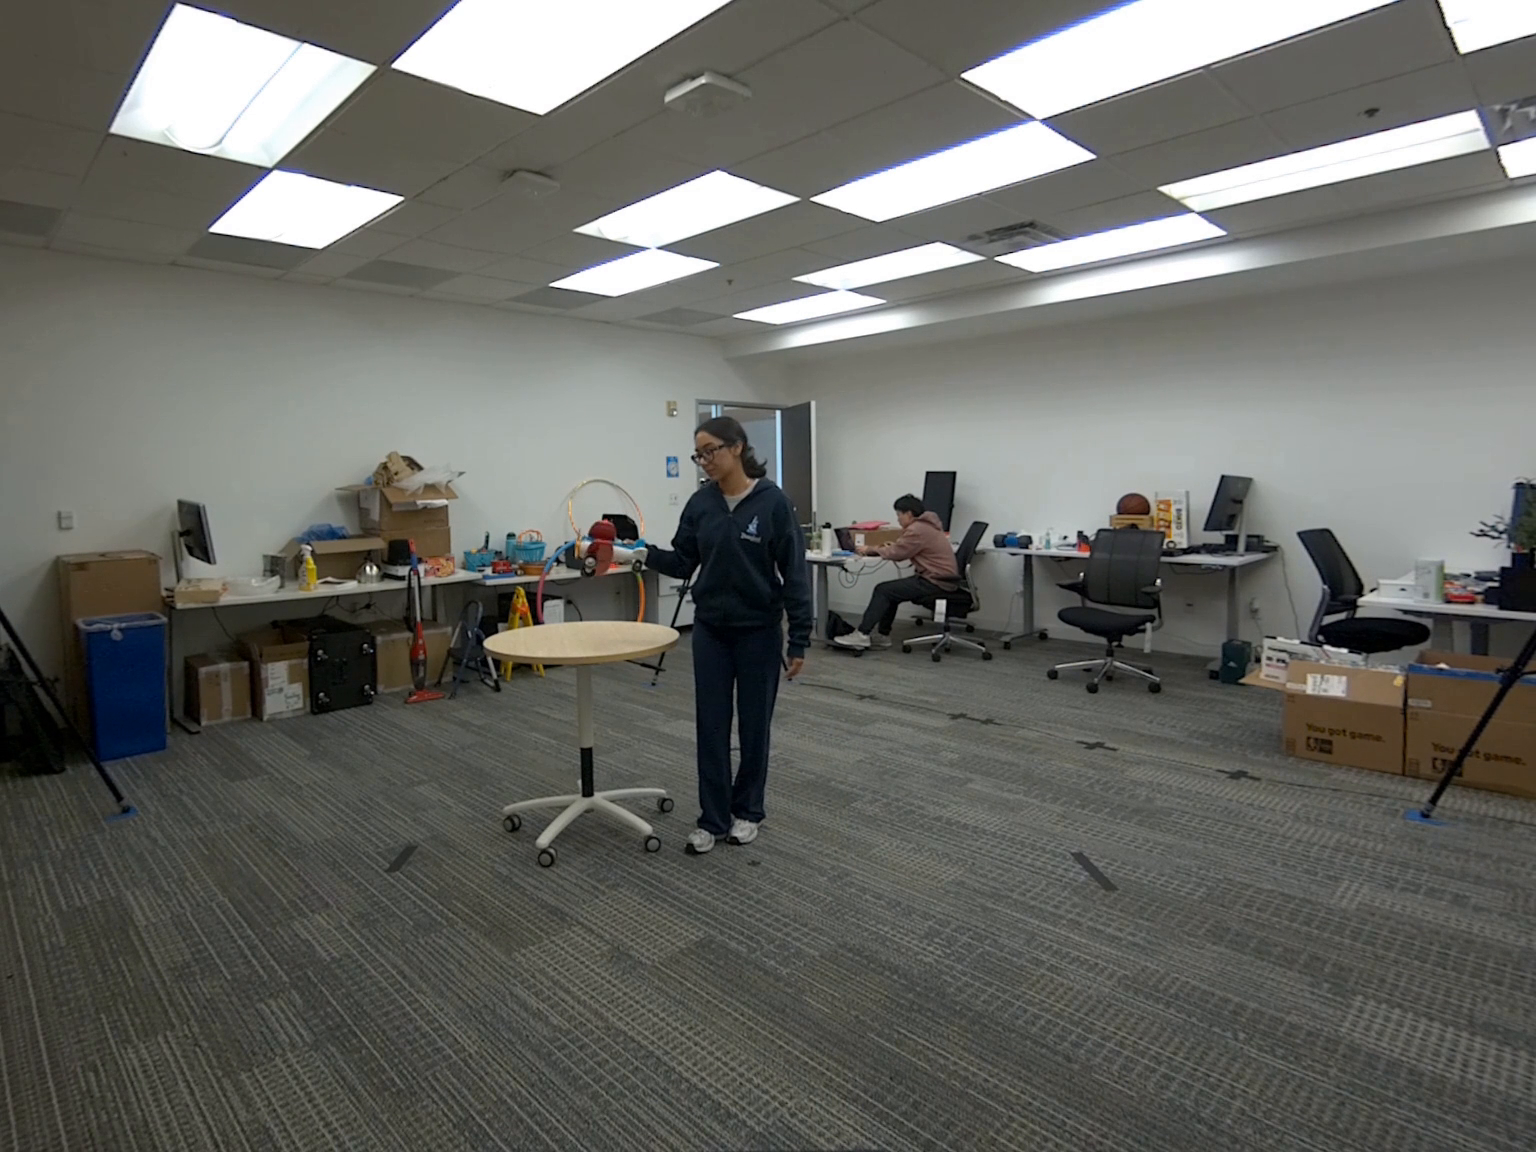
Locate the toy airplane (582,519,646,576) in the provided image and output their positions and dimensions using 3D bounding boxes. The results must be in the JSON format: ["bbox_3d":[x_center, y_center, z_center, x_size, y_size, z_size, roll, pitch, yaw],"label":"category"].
[{"bbox_3d":[-0.576,-0.078,3.138,0.250,0.160,0.253,12,-35,-43],"label":"toy airplane"}]
